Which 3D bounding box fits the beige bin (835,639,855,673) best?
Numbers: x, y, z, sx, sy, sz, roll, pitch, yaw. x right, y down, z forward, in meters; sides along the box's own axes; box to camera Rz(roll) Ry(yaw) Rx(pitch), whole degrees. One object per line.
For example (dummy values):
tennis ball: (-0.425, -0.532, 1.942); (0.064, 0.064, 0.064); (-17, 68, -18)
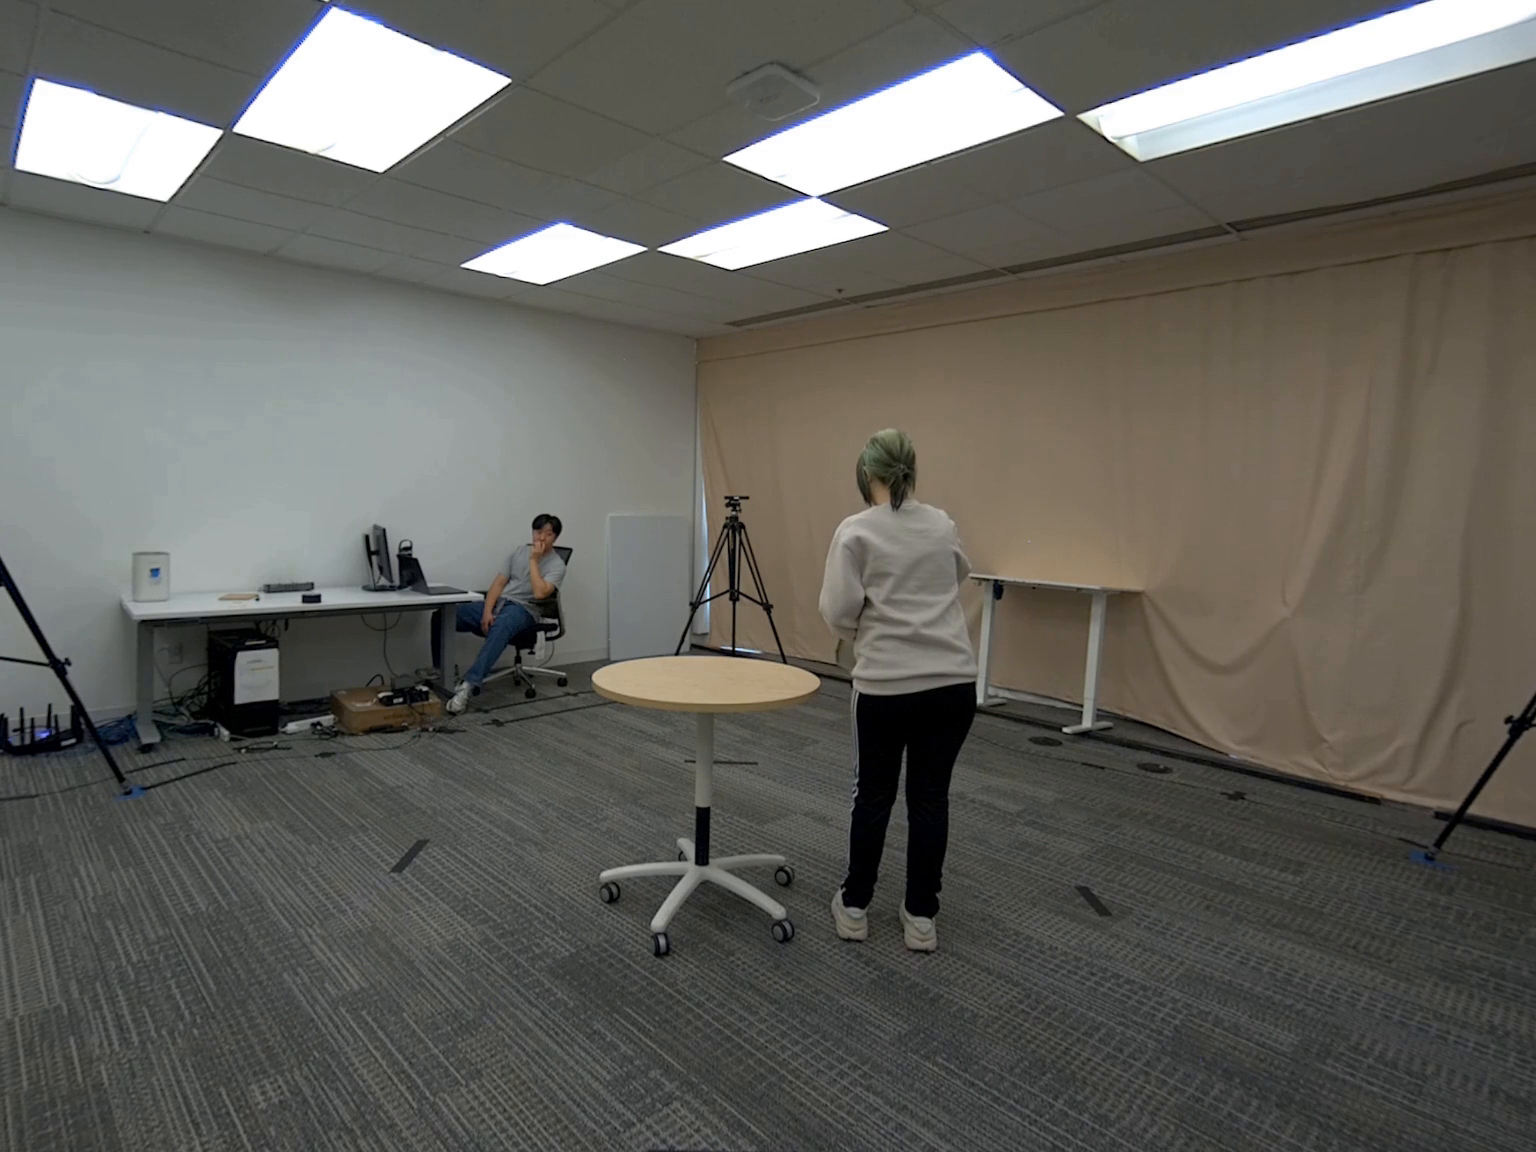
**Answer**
beige bin: (0.464, 0.210, 3.038); (0.384, 0.187, 0.418); (2, 12, 23)
